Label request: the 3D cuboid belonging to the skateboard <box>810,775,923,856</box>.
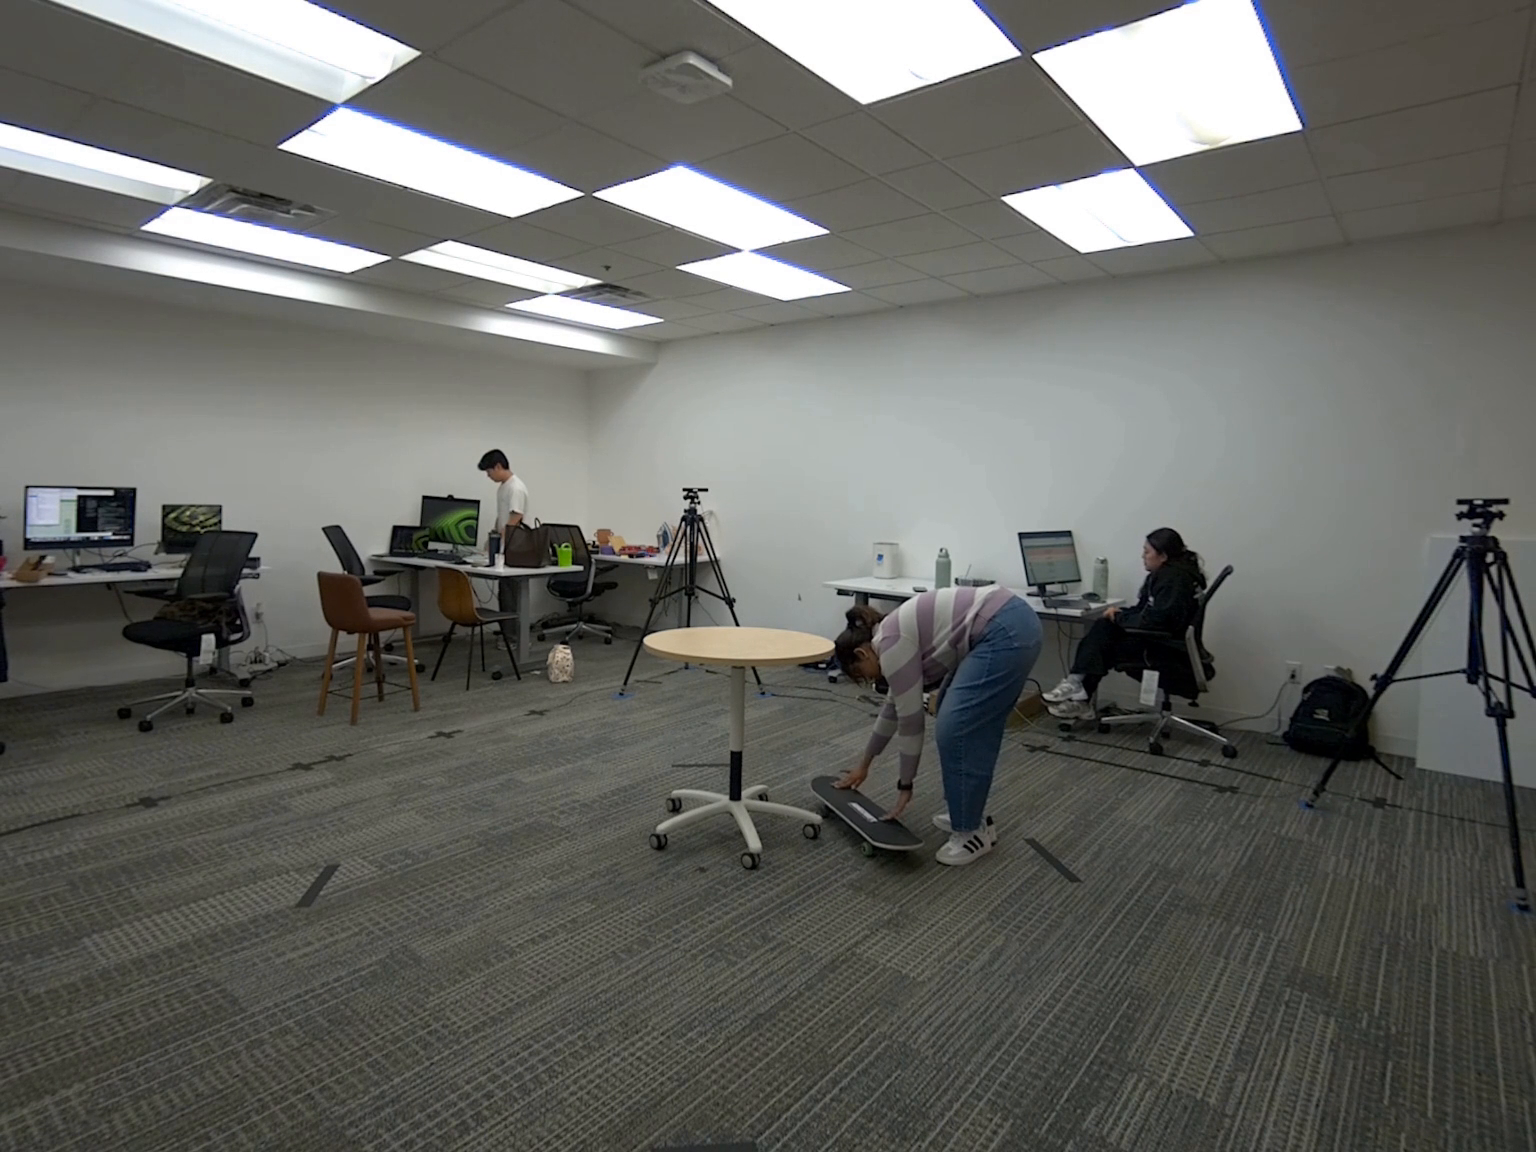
[{"bbox_3d":[0.371,0.990,3.480,0.190,0.110,0.803,-2,6,-19],"label":"skateboard"}]
